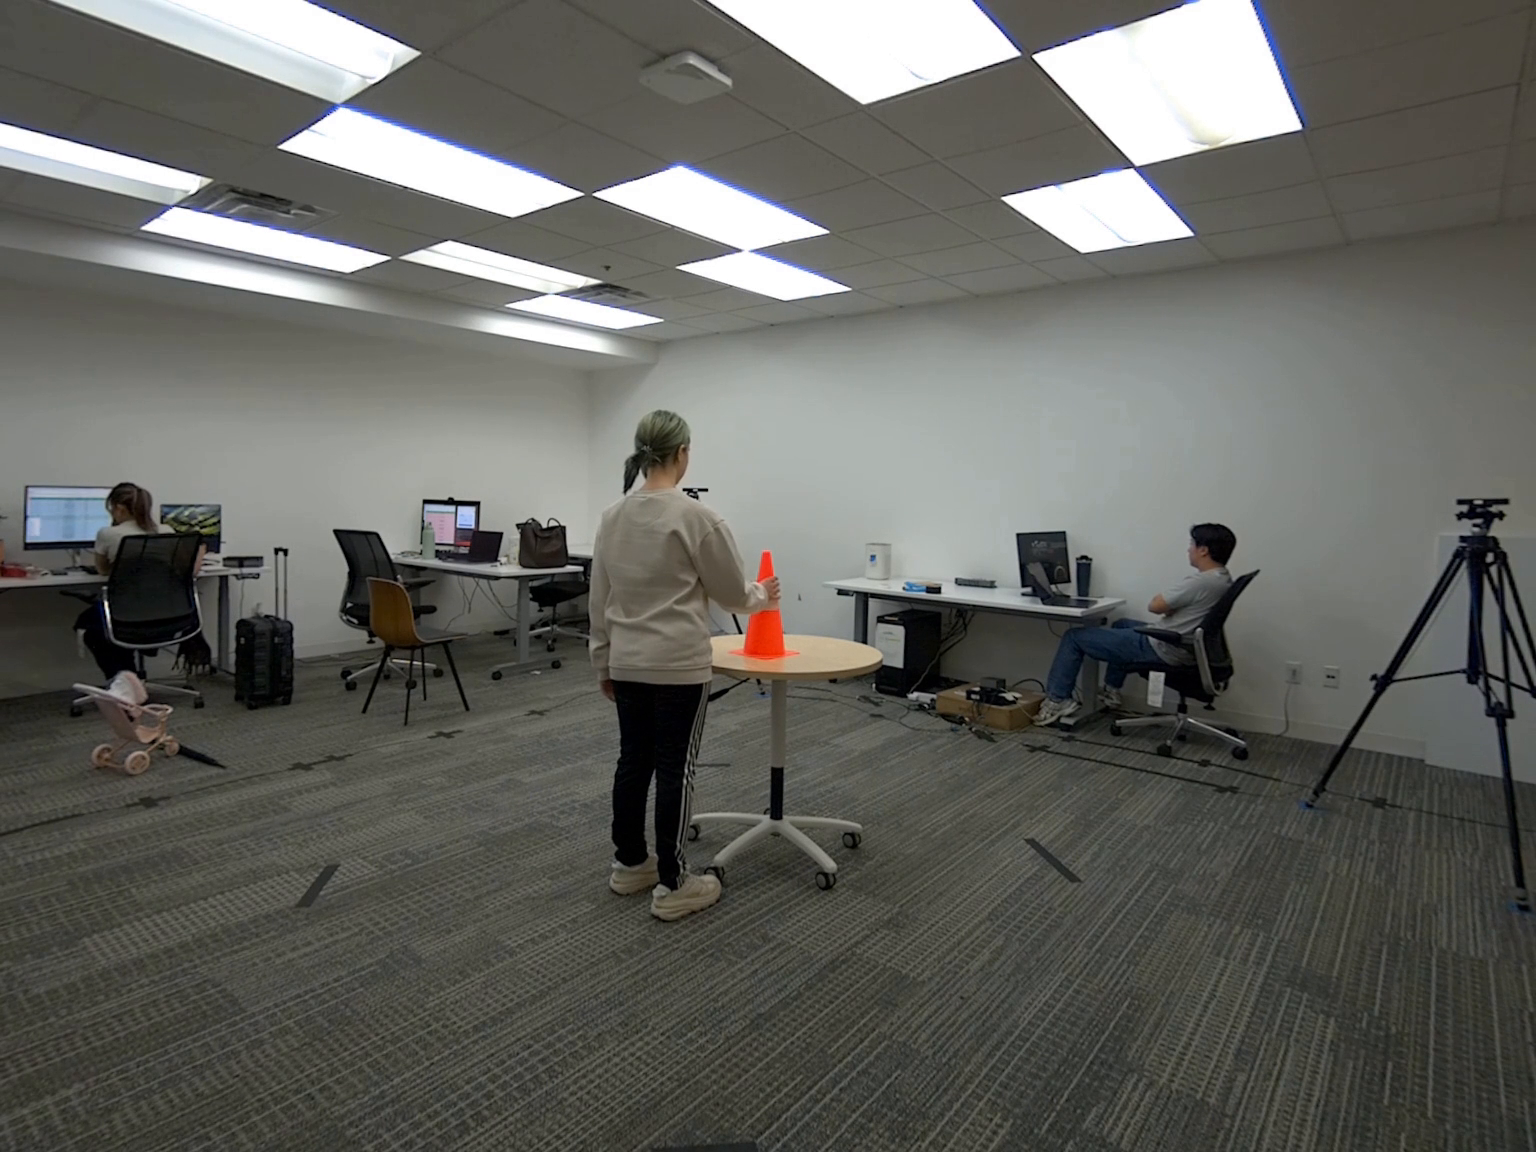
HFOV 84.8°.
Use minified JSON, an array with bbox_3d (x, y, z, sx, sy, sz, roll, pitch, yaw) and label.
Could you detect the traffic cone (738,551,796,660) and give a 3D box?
[{"bbox_3d":[-0.017,0.092,3.160,0.211,0.382,0.198,4,4,26],"label":"traffic cone"}]
